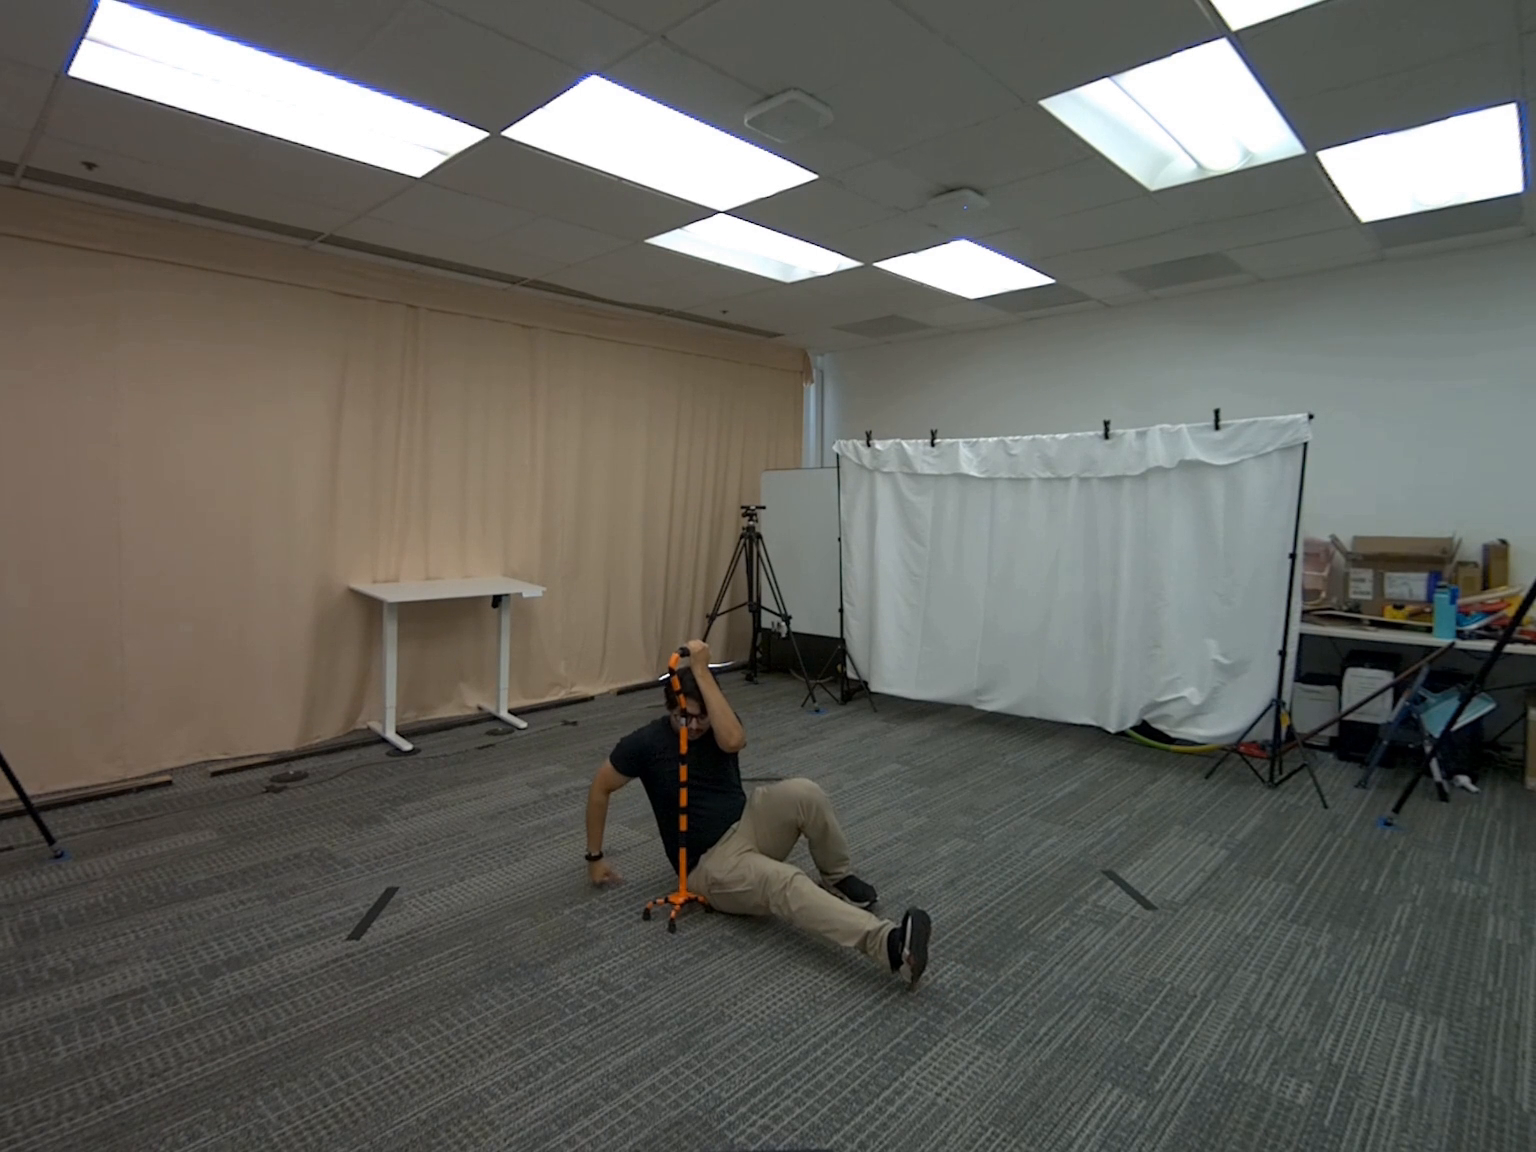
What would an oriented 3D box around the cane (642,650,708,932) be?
[{"bbox_3d":[-0.307,0.689,2.864,0.156,0.908,0.200,0,0,43],"label":"cane"}]
